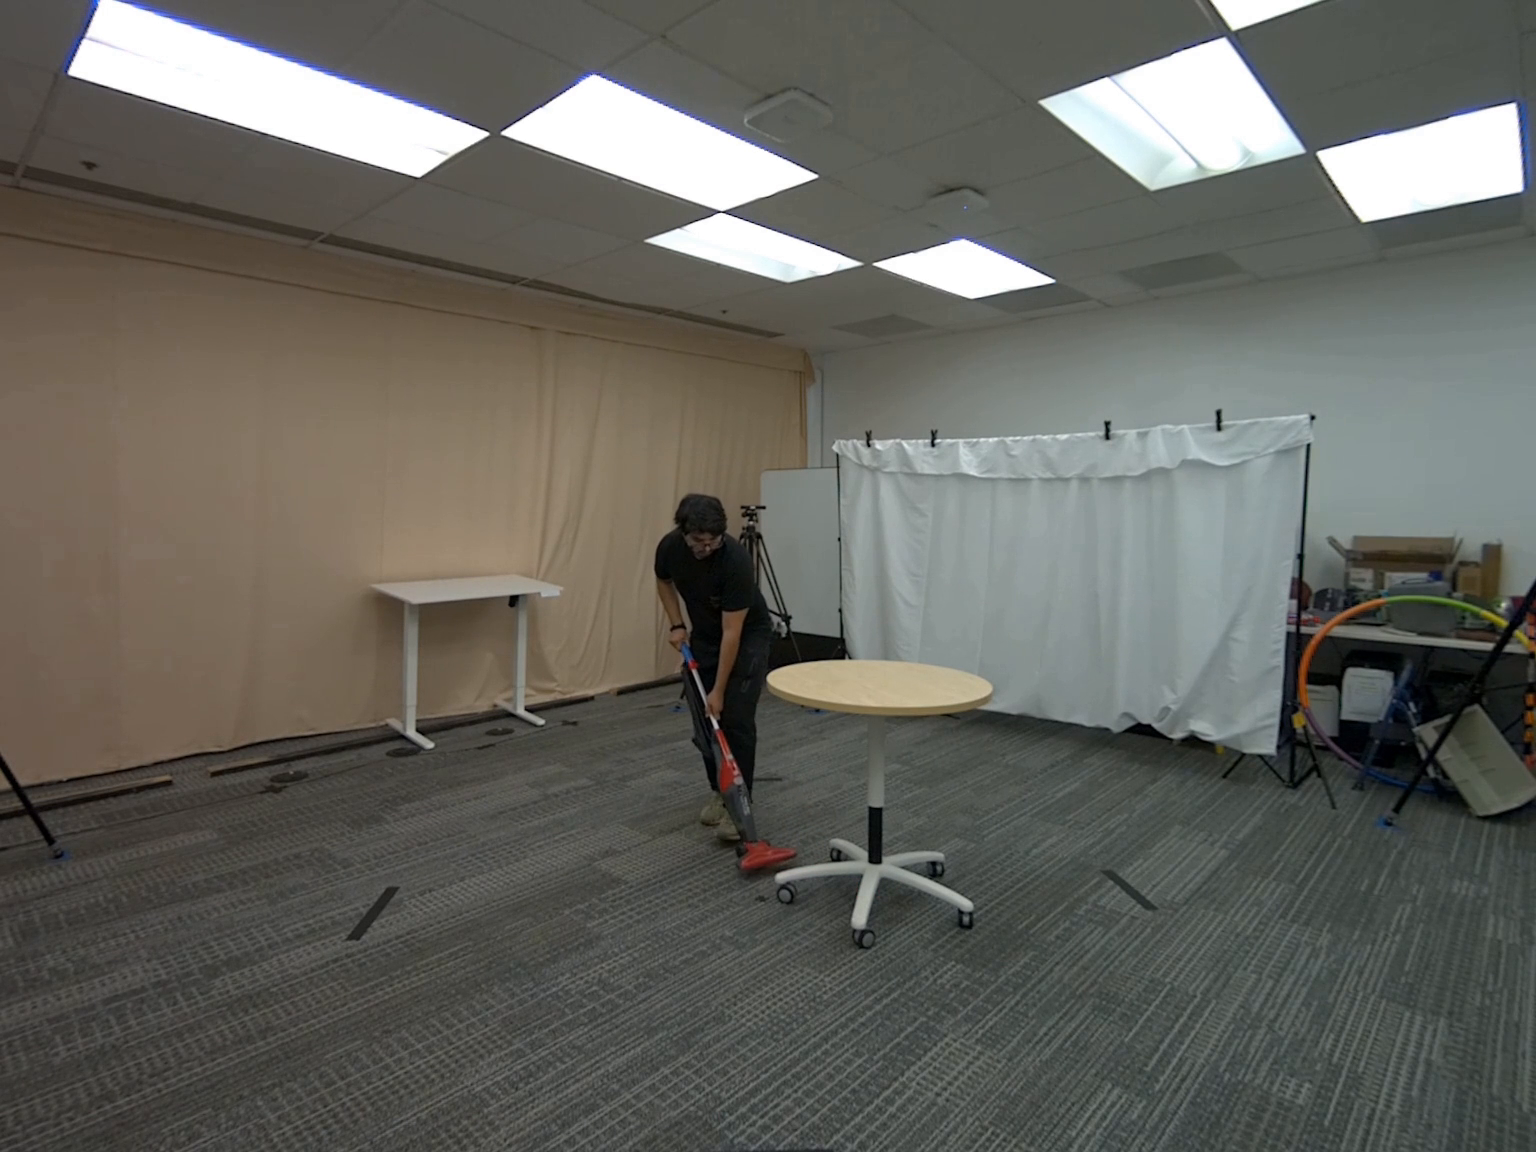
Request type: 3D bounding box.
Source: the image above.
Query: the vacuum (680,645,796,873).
[{"bbox_3d":[-0.223,0.679,3.492,0.245,1.079,0.144,0,-41,-36],"label":"vacuum"}]
